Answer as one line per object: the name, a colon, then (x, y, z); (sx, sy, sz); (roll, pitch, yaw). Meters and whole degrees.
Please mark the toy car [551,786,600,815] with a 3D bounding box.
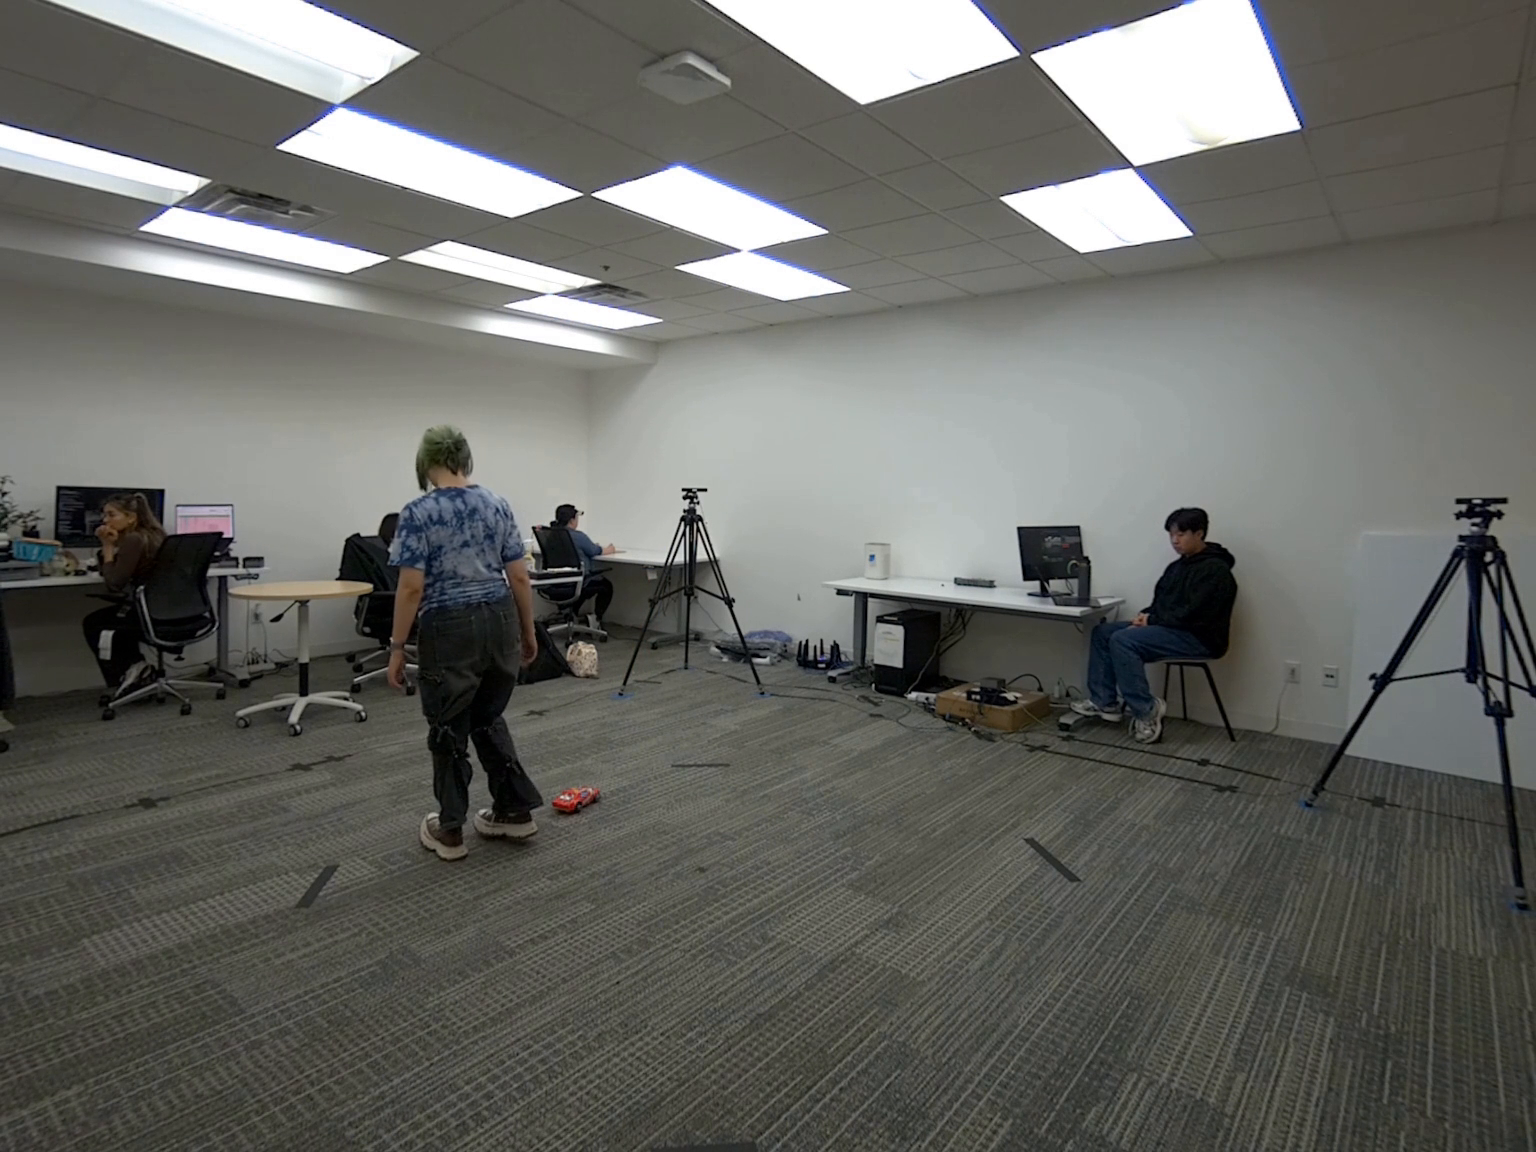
toy car: (-0.855, 0.970, 3.702); (0.134, 0.083, 0.247); (4, -5, 25)
